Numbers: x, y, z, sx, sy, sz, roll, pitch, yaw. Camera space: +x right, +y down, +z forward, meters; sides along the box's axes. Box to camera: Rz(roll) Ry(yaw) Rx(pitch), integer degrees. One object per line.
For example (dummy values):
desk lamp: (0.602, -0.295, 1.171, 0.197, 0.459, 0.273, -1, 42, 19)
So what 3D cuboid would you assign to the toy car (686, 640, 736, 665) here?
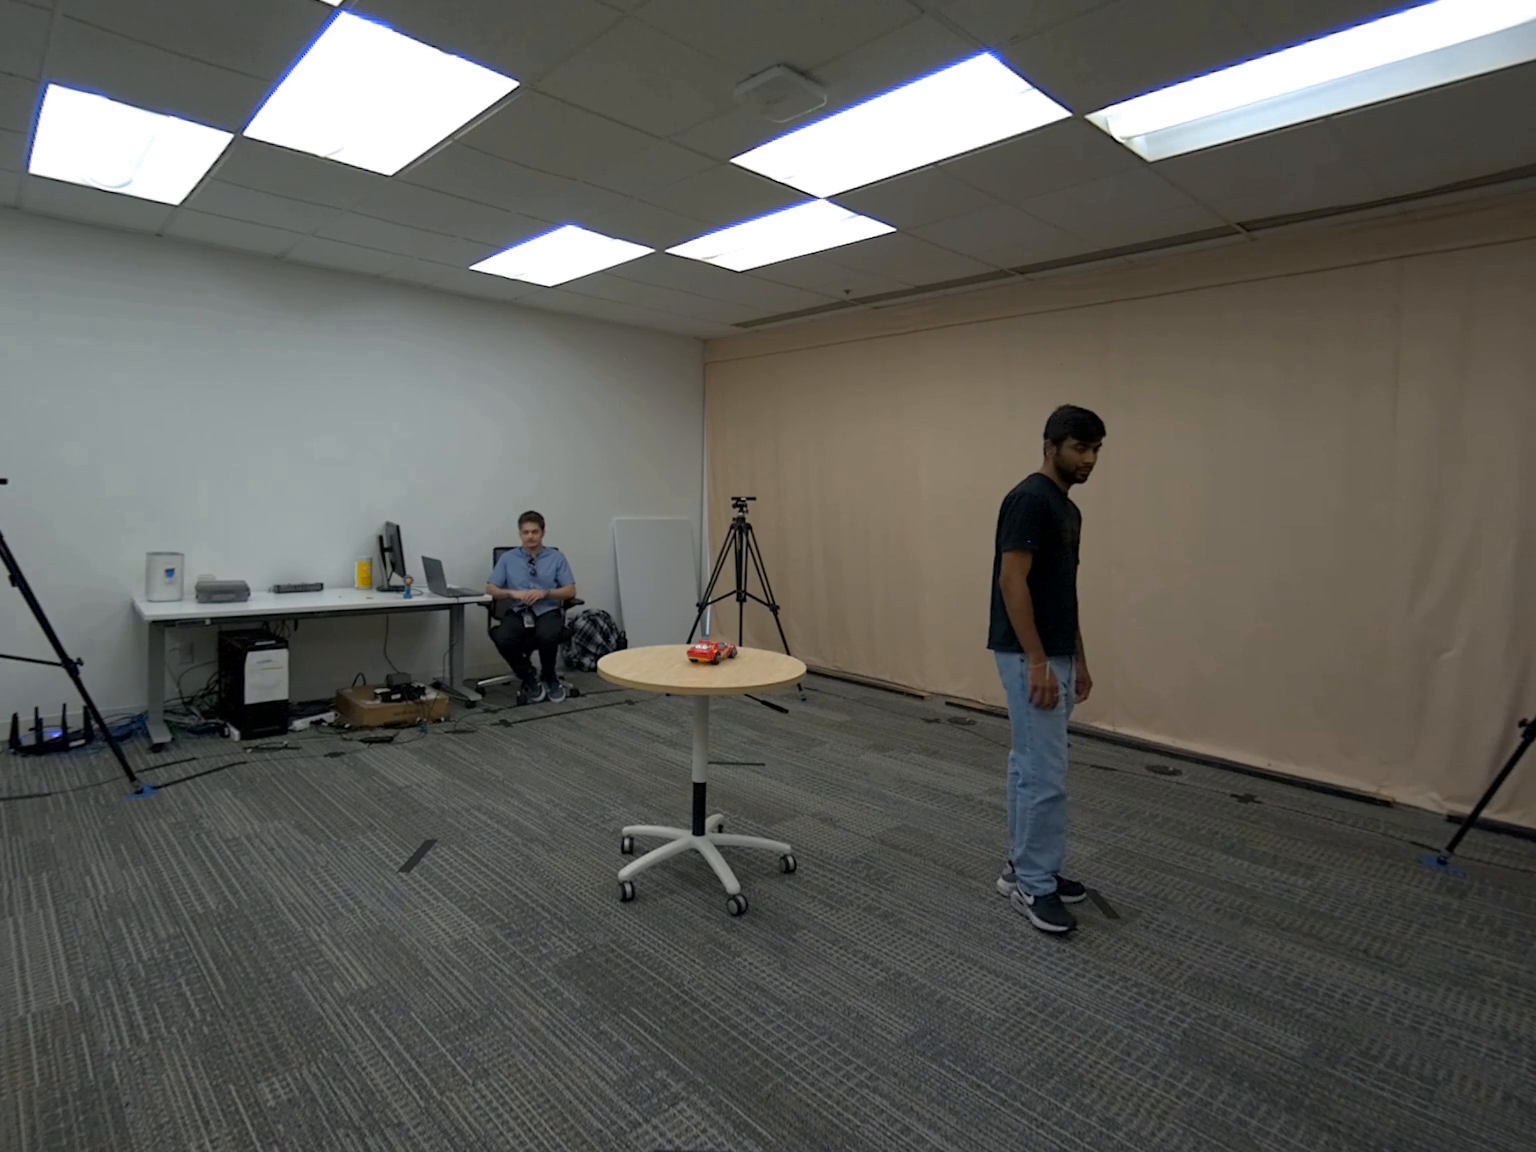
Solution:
toy car: (-0.216, 0.285, 3.150, 0.132, 0.083, 0.249, 3, -5, 22)
